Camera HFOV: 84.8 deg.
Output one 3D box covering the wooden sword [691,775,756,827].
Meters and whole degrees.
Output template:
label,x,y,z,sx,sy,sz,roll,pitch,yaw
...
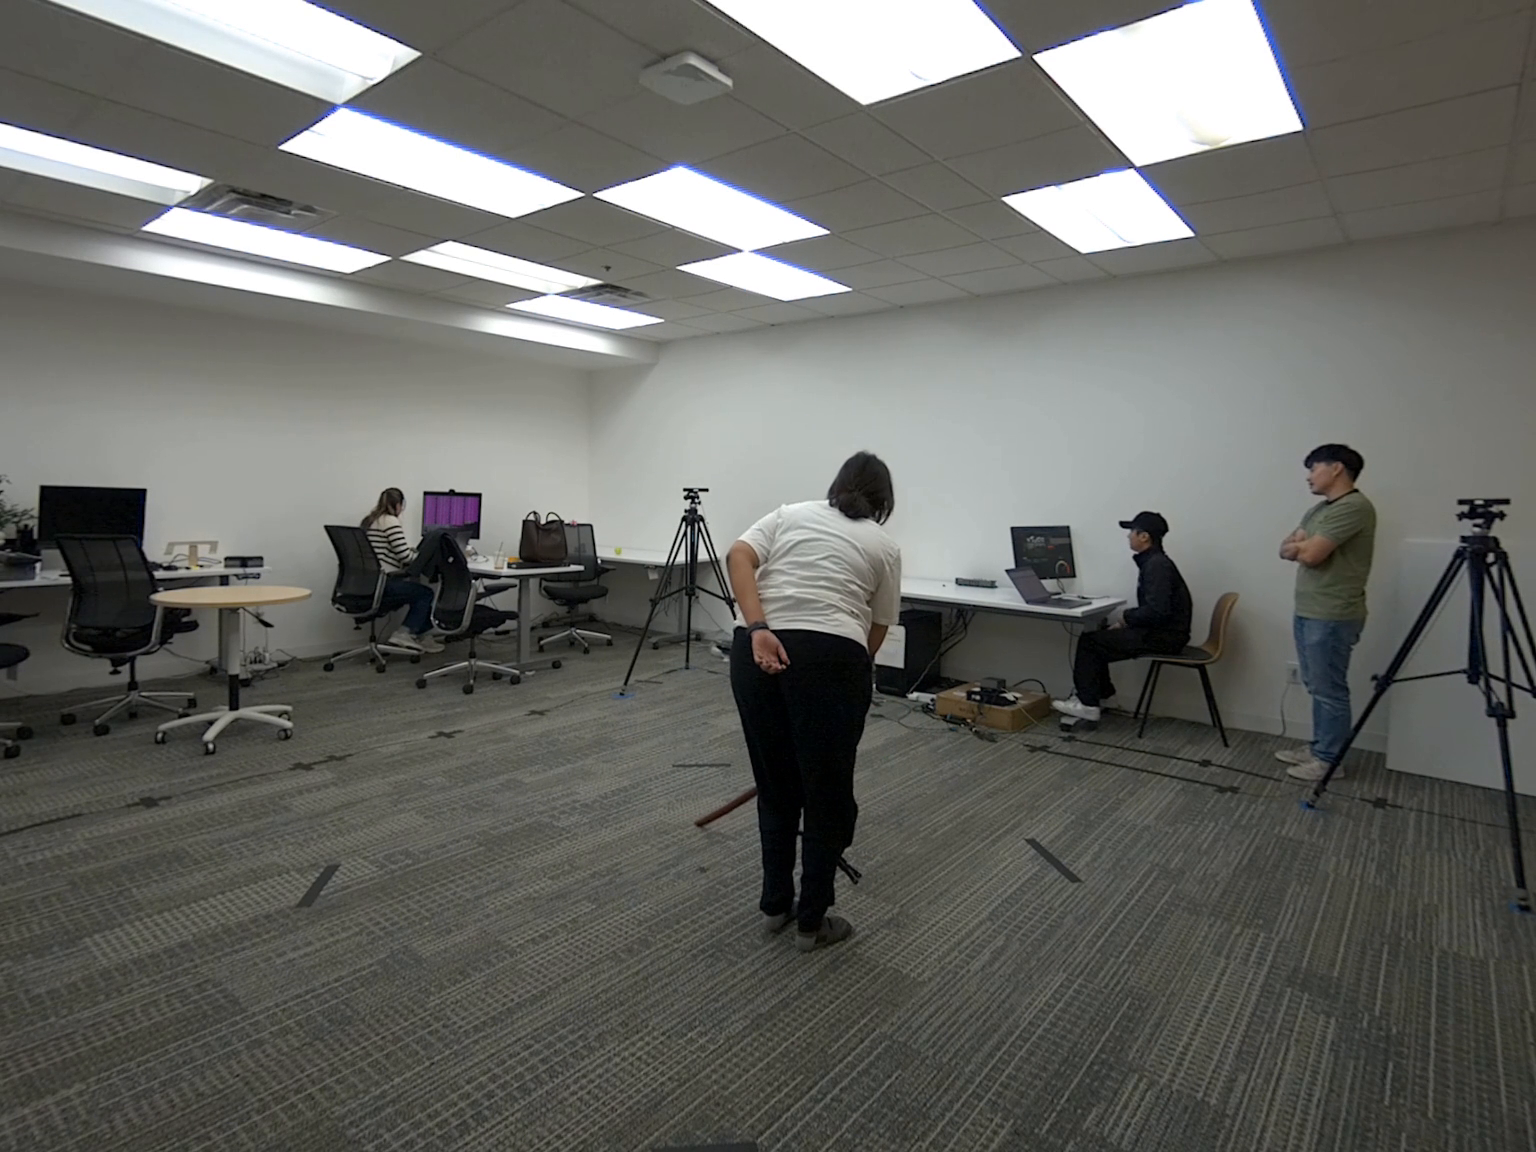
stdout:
label,x,y,z,sx,sy,sz,roll,pitch,yaw
wooden sword,-0.027,0.763,3.174,0.023,0.053,1.027,23,-42,-25
